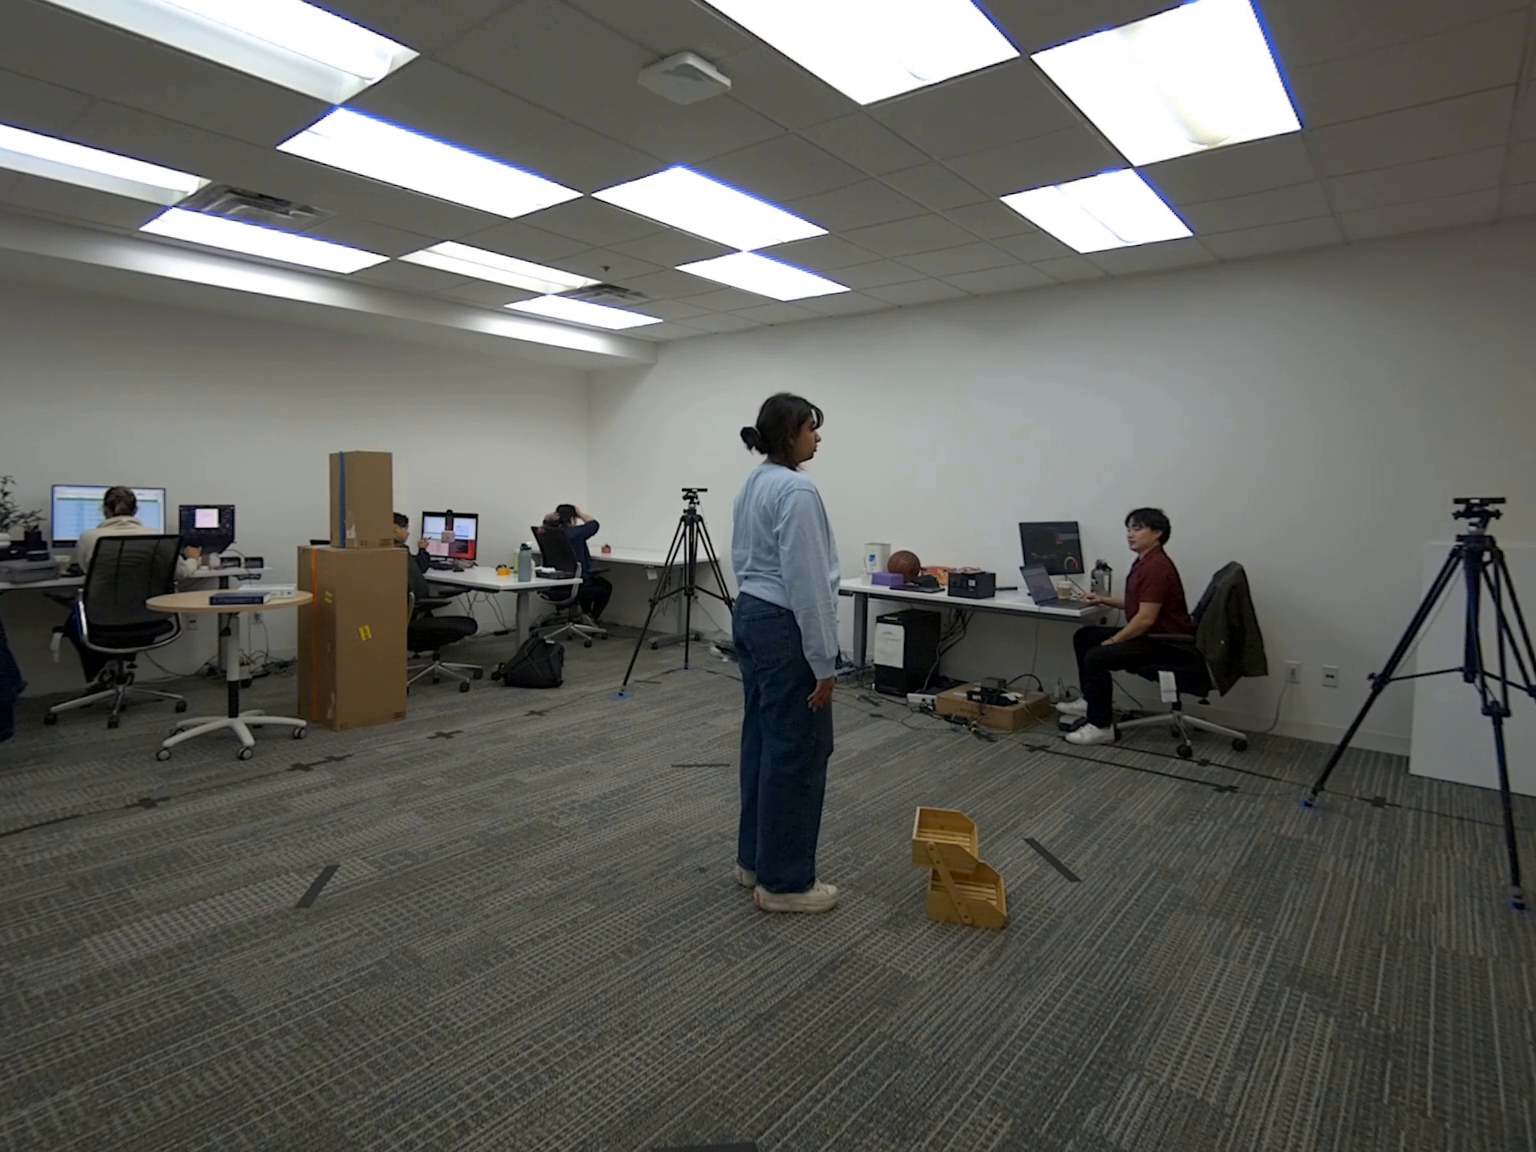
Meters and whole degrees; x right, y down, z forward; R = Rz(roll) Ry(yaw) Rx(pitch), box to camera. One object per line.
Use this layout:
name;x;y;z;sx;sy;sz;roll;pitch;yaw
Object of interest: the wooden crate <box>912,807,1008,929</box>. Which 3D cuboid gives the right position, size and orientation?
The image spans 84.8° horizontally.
wooden crate;0.648;0.985;2.898;0.307;0.272;0.320;2;5;15
